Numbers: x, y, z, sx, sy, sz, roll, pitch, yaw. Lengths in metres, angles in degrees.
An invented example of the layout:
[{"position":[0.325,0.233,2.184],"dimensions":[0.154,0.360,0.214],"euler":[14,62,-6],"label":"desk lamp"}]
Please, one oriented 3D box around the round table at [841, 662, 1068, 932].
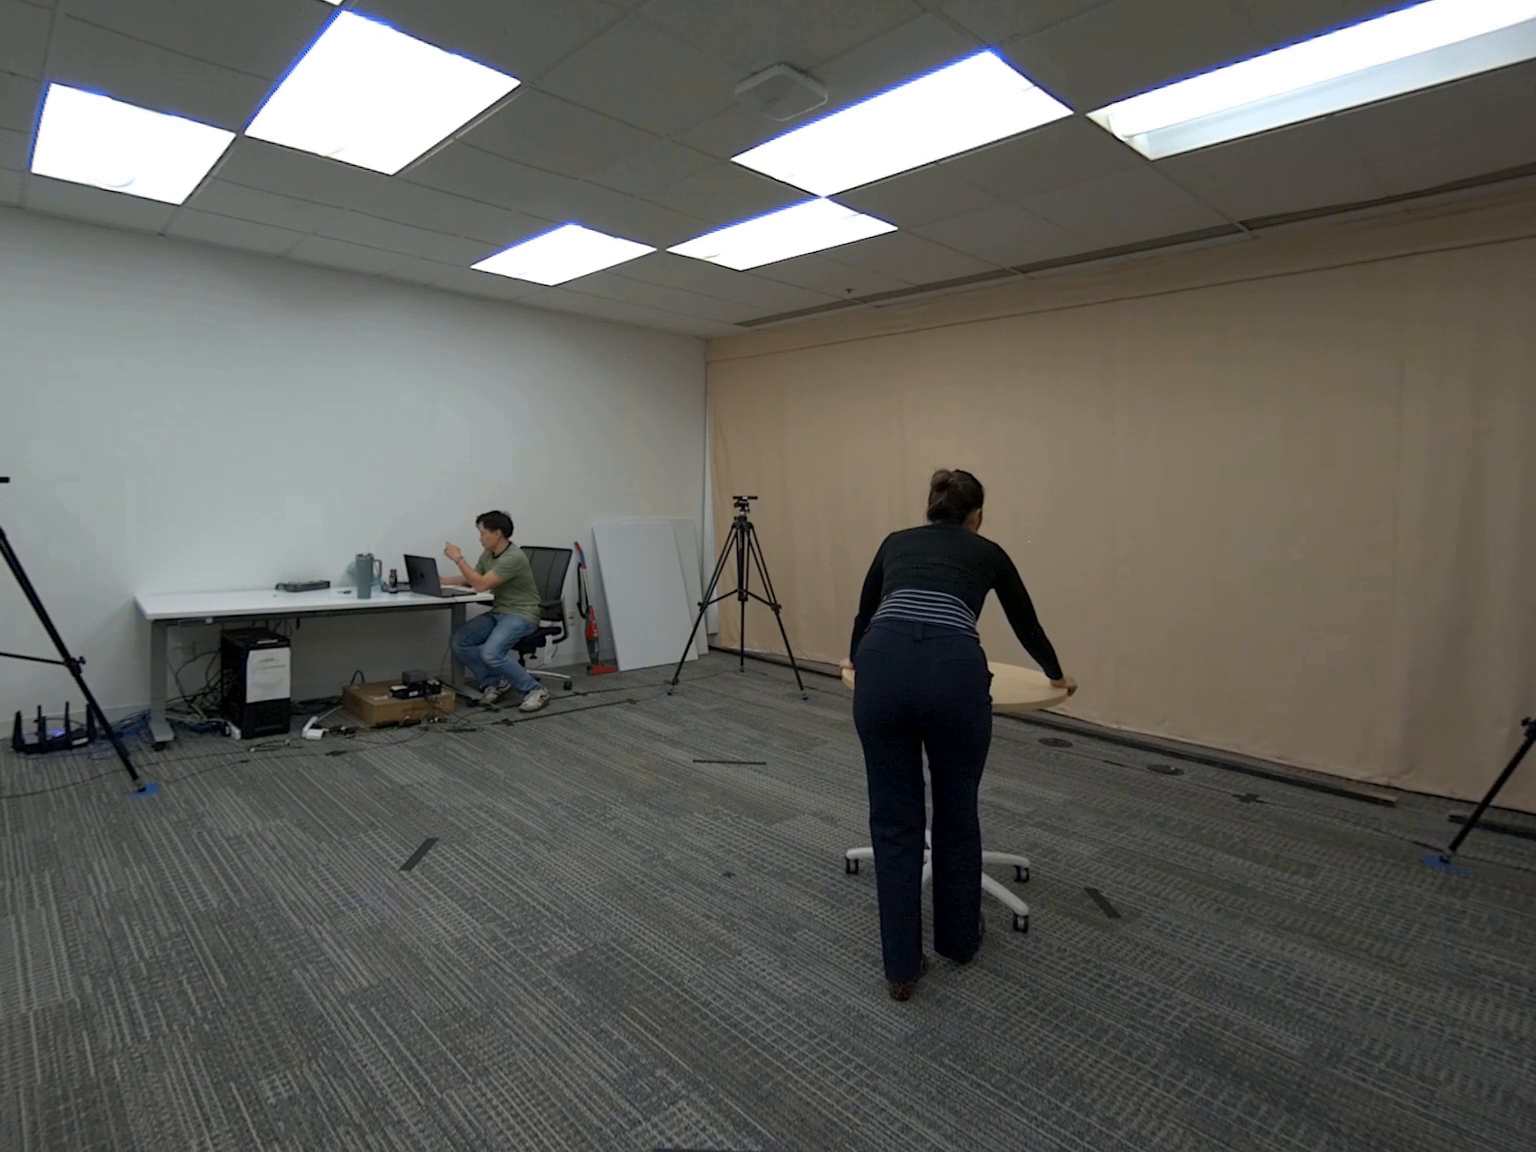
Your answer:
[{"position":[0.628,0.748,3.002],"dimensions":[0.763,0.791,0.767],"euler":[2,5,-1],"label":"round table"}]
